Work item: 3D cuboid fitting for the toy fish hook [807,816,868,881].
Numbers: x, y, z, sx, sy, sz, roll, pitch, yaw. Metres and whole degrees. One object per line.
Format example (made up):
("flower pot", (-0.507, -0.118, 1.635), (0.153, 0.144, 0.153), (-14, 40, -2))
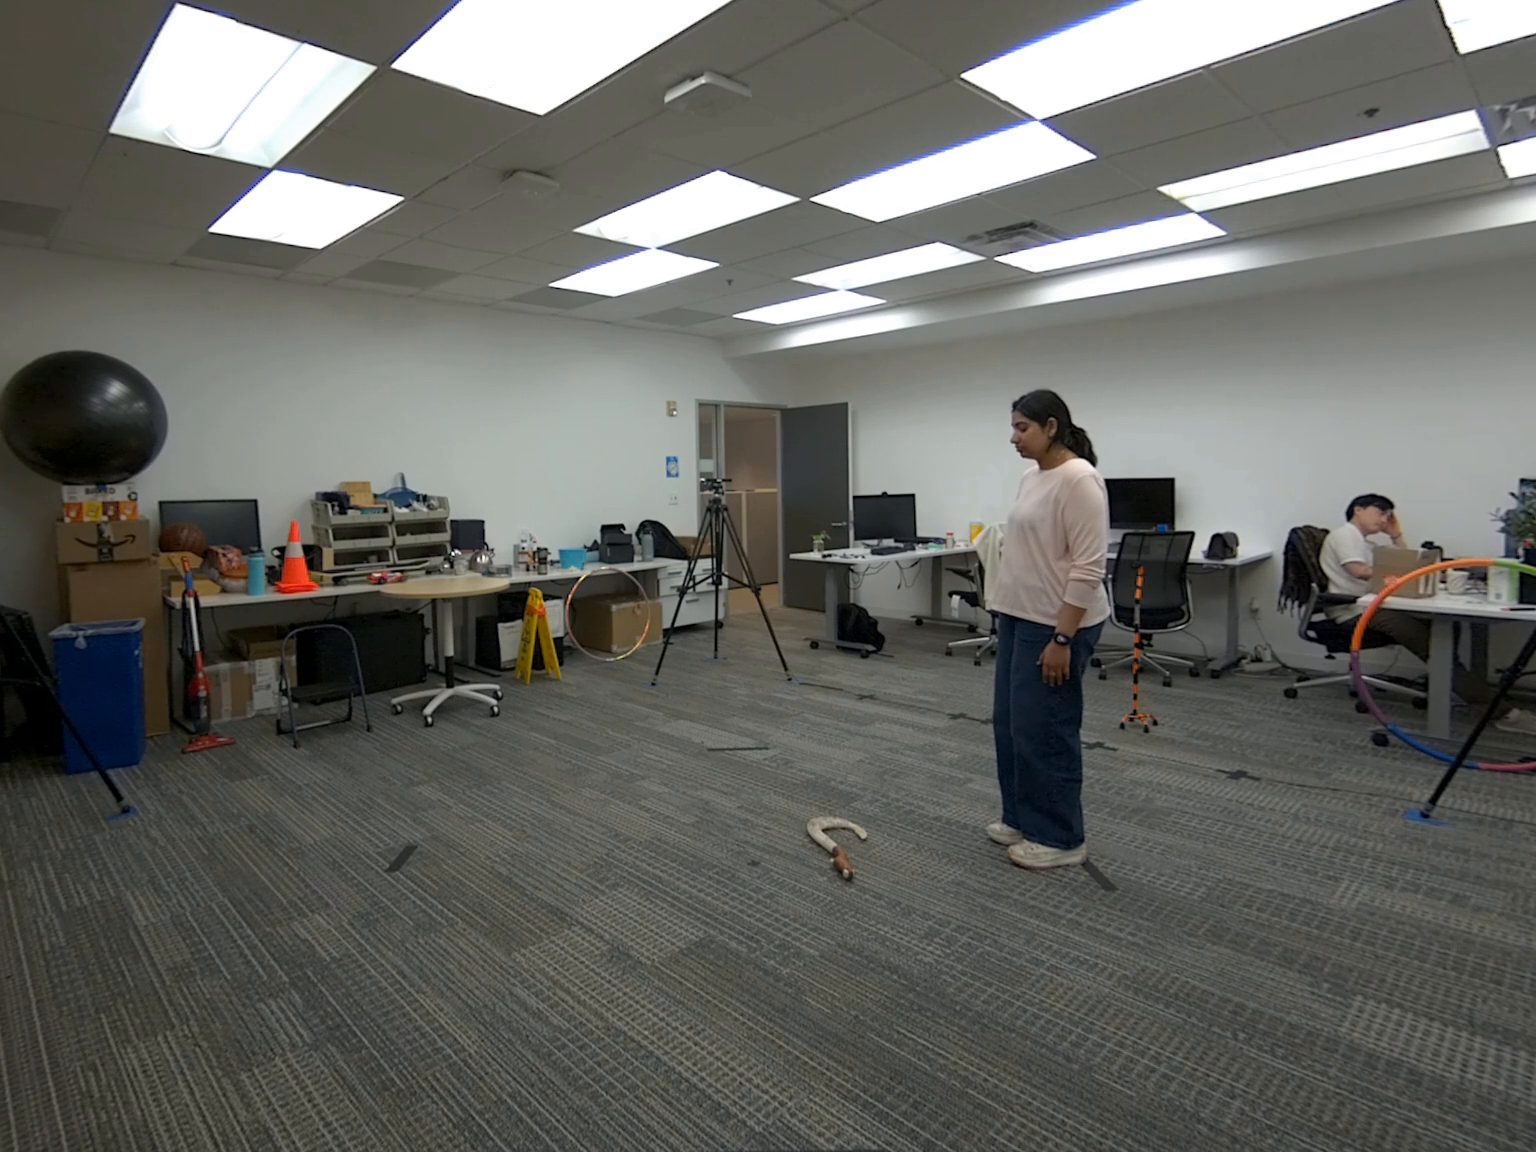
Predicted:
("toy fish hook", (0.293, 1.004, 3.192), (0.223, 0.048, 0.513), (-3, 7, -9))
